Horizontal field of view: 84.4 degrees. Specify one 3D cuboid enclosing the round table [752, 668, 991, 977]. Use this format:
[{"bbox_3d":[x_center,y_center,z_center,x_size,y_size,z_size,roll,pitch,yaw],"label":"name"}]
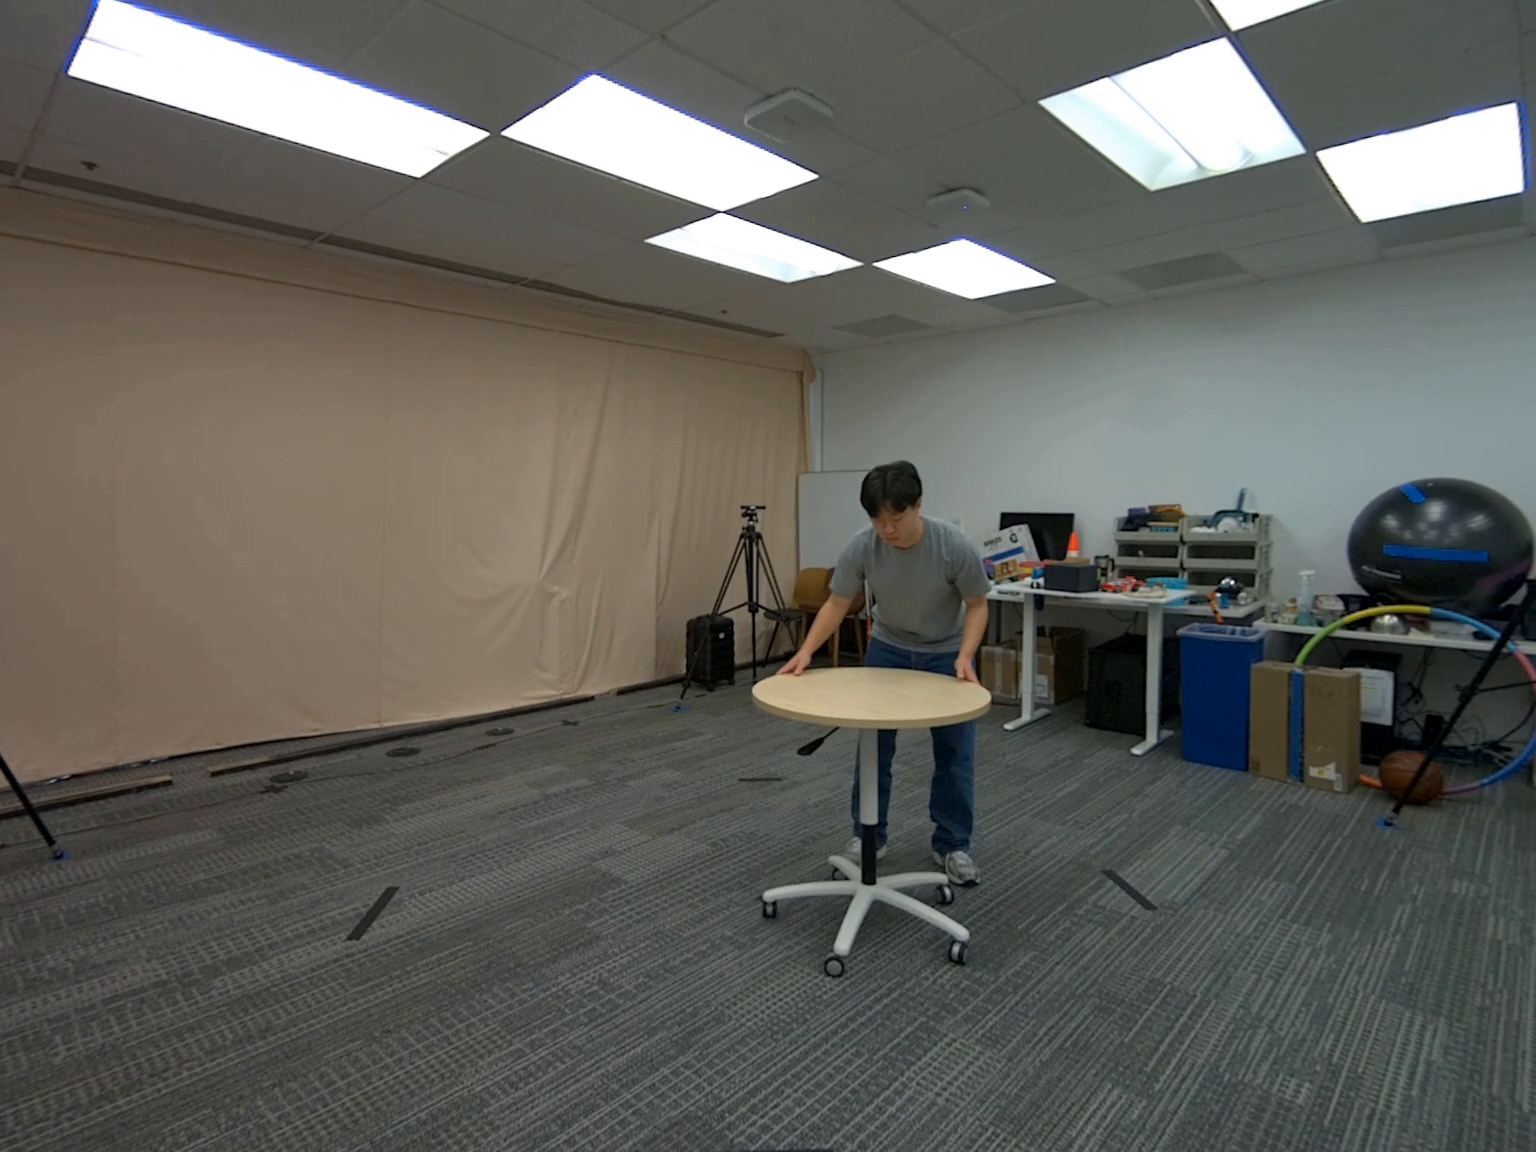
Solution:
[{"bbox_3d":[0.330,0.769,2.781,0.763,0.792,0.767,0,4,-2],"label":"round table"}]
